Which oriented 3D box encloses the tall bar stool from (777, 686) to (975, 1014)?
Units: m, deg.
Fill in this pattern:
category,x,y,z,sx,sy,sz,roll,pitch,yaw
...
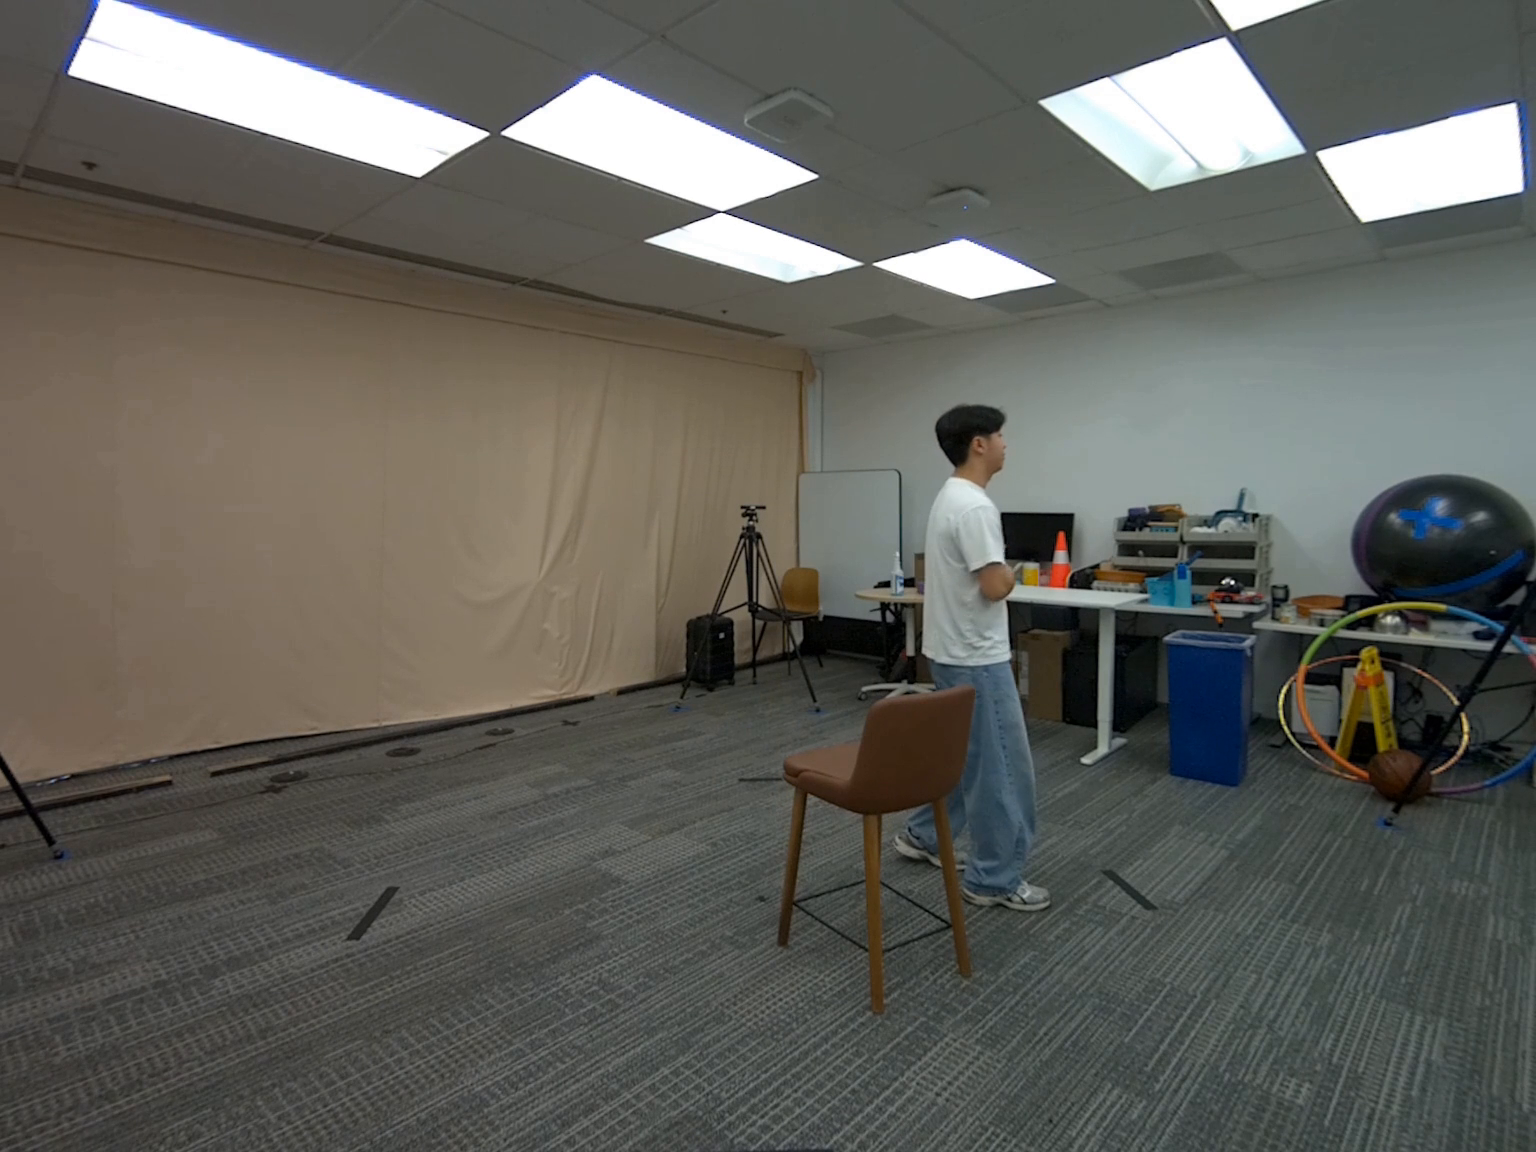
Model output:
category,x,y,z,sx,sy,sz,roll,pitch,yaw
tall bar stool,0.331,0.741,2.562,0.443,0.887,0.482,-2,6,-34
